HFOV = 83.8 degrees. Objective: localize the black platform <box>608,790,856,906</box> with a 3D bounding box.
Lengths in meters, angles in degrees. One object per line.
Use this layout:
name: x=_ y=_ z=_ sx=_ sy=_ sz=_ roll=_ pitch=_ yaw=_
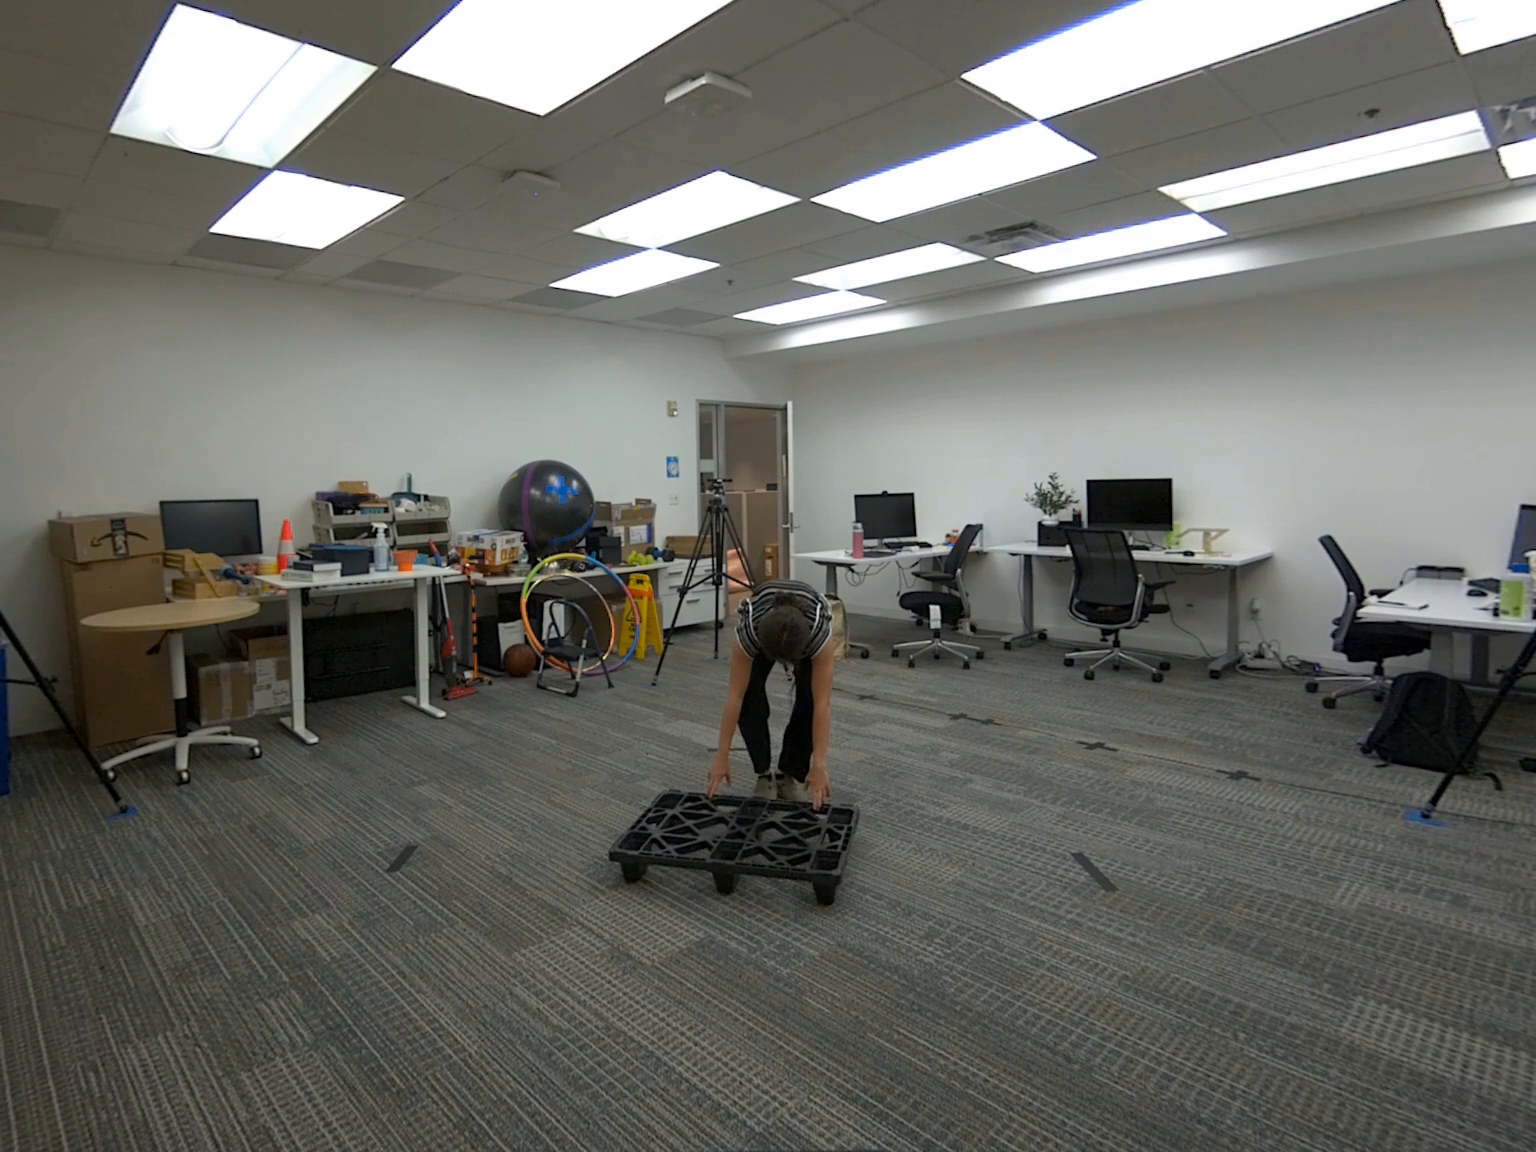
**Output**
black platform: x=-0.096 y=0.977 z=3.106 sx=0.817 sy=0.142 sz=0.600 roll=0 pitch=7 yaw=14
